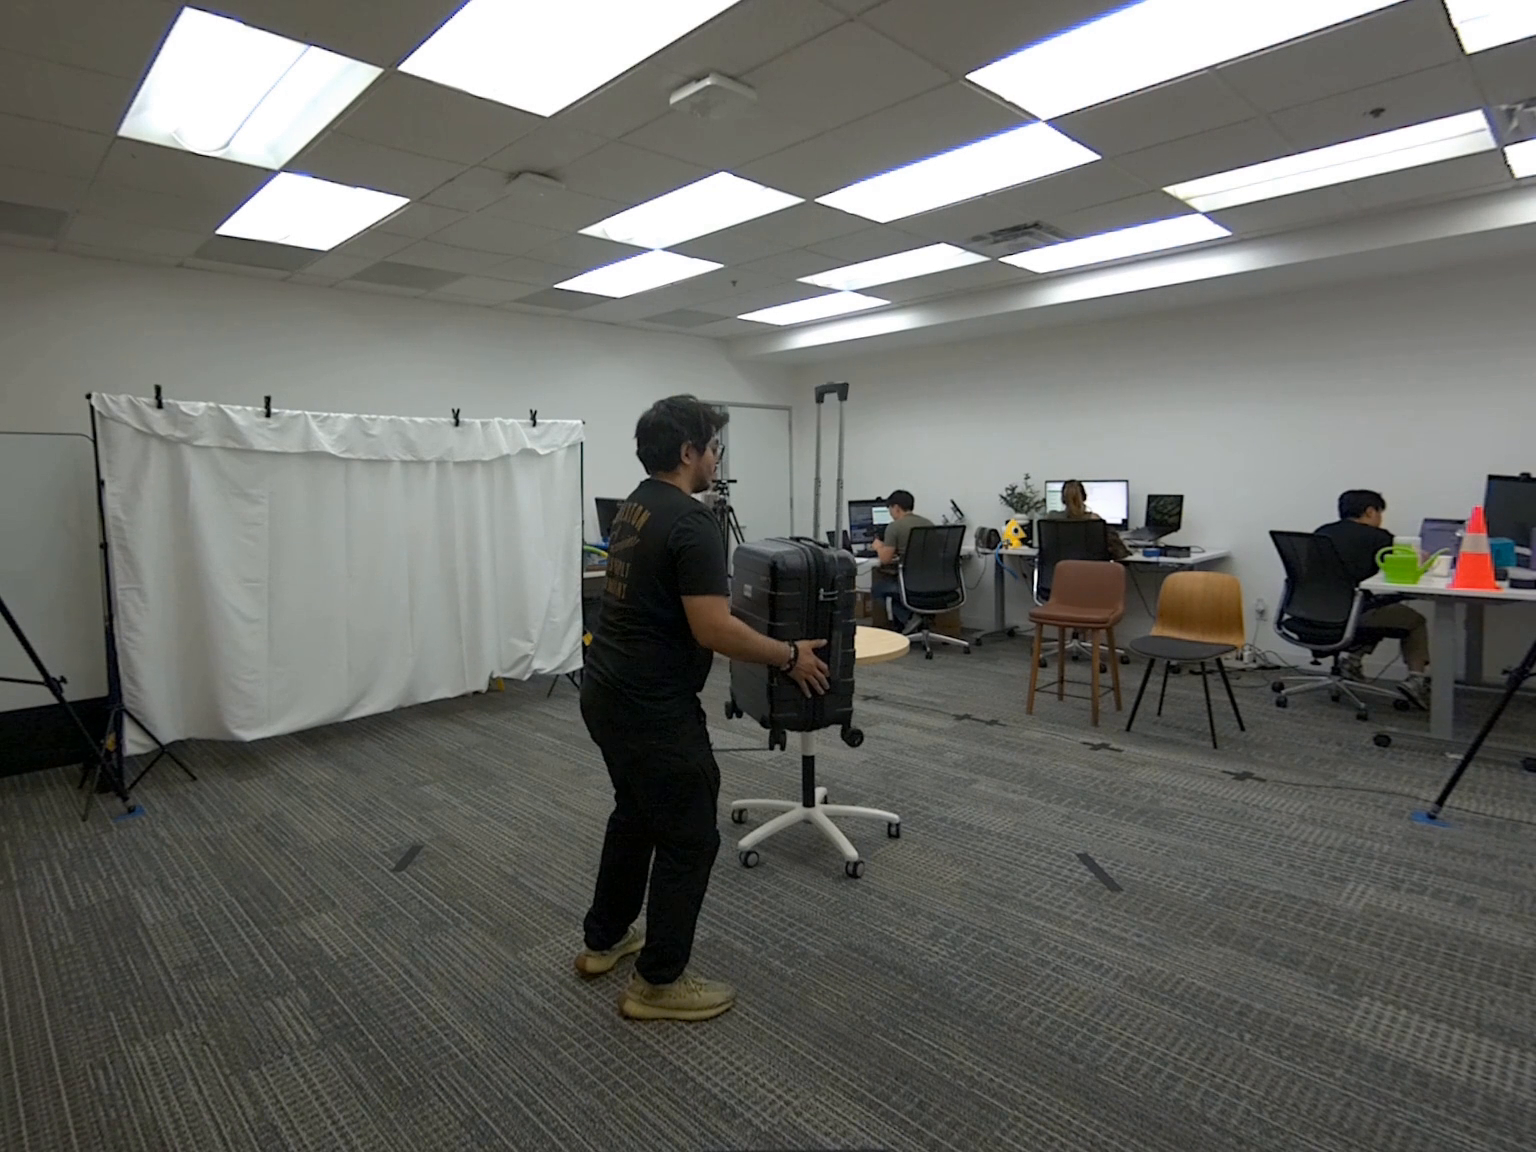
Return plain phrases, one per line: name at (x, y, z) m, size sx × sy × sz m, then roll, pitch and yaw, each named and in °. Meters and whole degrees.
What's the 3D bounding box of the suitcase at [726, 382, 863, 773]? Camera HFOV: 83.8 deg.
suitcase at (0.070, -0.034, 2.377) m, size 0.253 × 0.974 × 0.392 m, roll -3°, pitch 6°, yaw -20°
